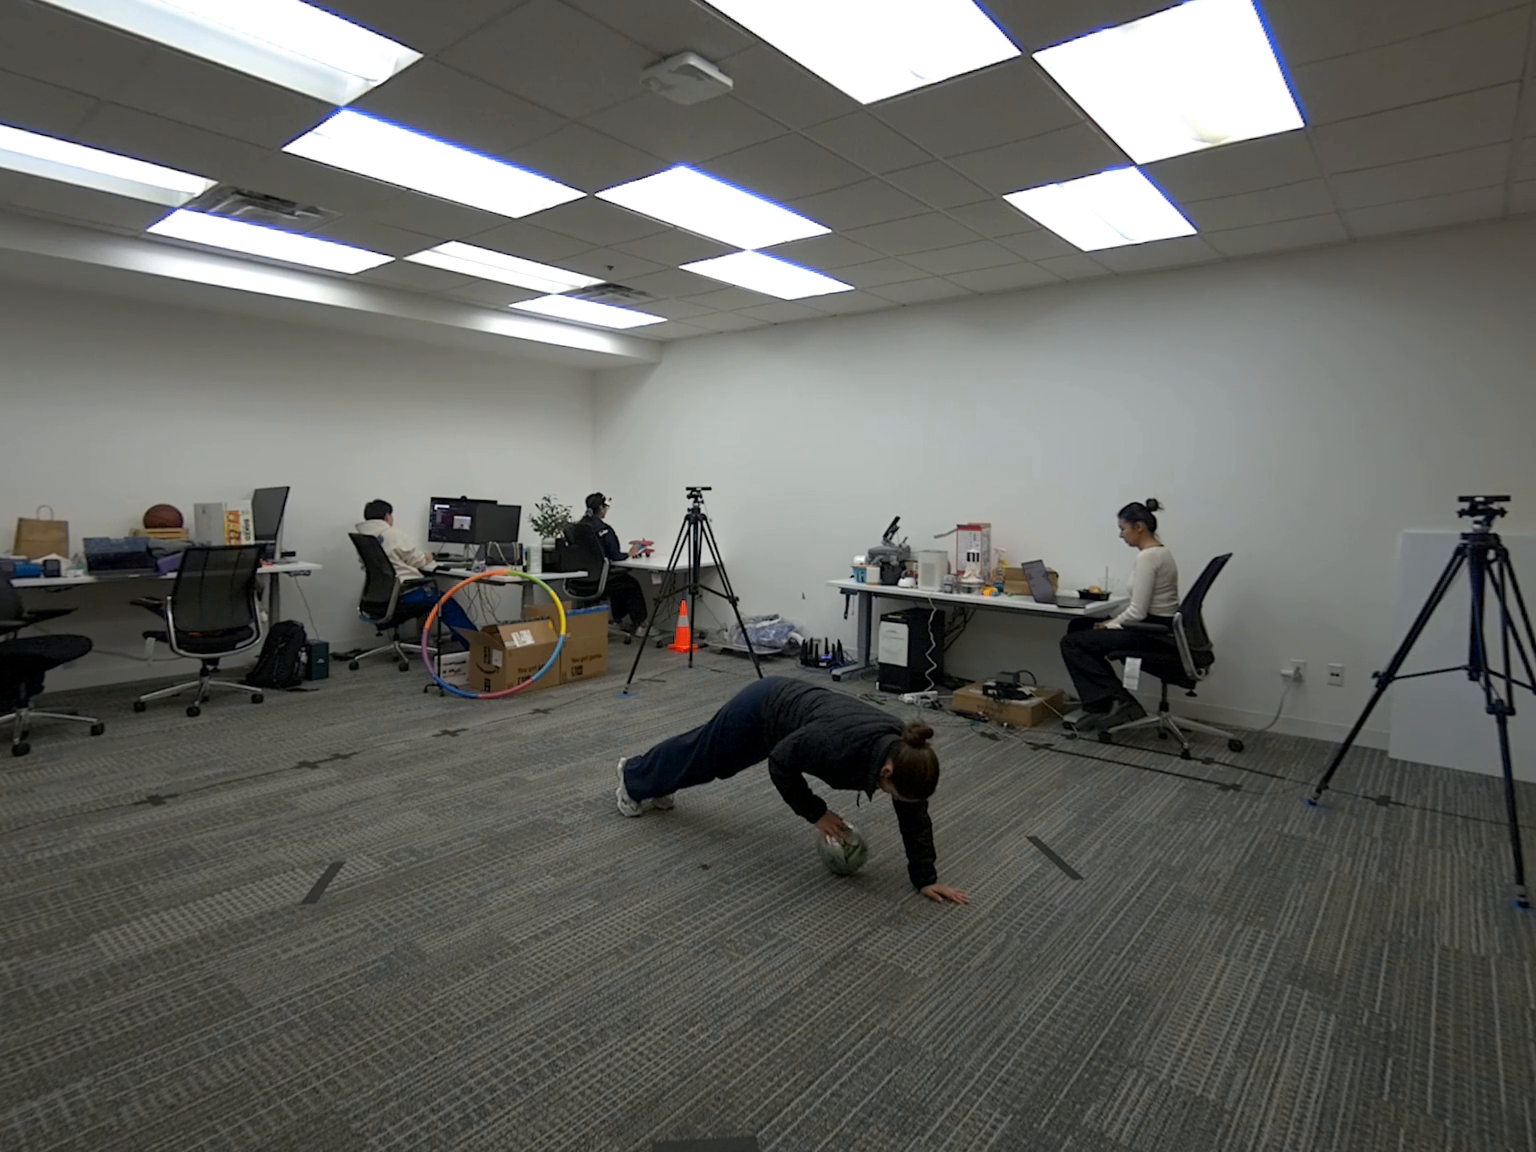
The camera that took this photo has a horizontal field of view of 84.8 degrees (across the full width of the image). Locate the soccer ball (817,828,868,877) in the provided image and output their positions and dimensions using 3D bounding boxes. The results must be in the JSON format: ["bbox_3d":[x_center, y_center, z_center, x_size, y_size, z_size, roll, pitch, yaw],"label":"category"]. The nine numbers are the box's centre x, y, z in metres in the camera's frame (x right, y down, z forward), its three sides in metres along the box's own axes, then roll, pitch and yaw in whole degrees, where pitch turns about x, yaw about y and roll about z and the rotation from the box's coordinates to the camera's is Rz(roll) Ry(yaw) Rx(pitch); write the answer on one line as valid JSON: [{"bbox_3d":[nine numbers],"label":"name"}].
[{"bbox_3d":[0.259,0.983,3.093,0.187,0.187,0.188,1,4,-2],"label":"soccer ball"}]
